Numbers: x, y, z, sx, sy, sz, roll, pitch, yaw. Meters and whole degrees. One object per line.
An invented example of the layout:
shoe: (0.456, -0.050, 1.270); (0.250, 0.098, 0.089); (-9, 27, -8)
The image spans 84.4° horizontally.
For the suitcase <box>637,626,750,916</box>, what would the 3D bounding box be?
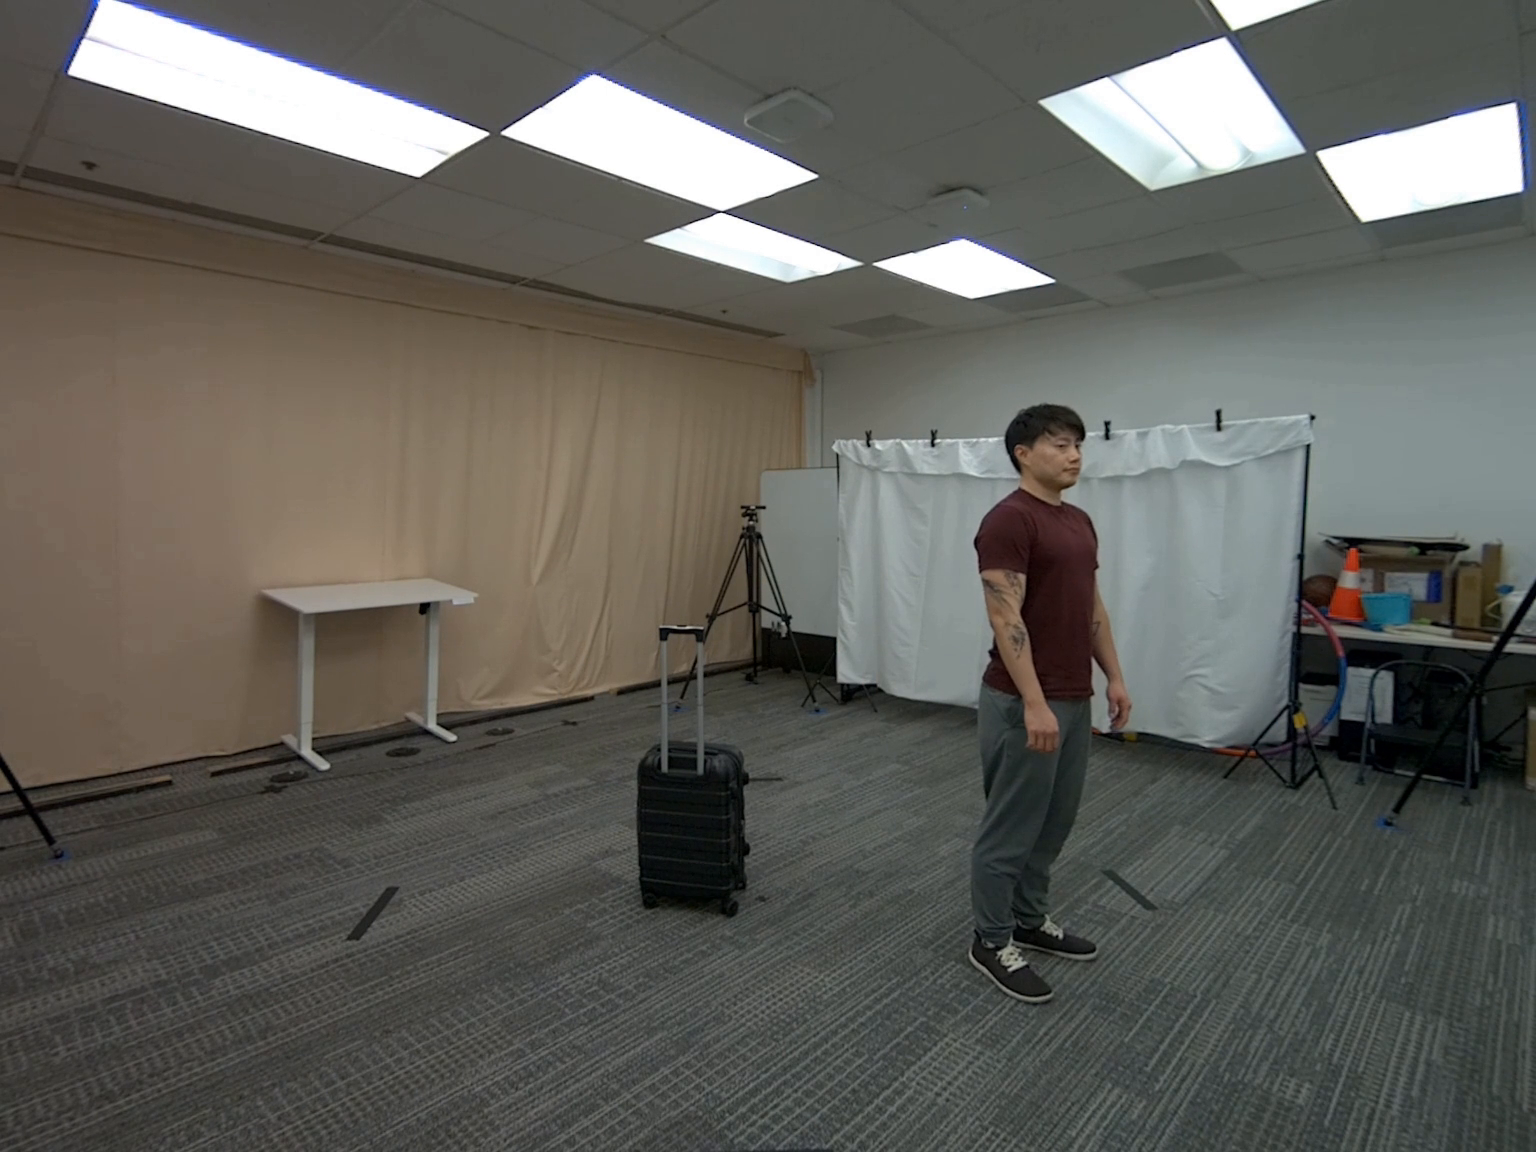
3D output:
suitcase: (-0.272, 0.666, 2.979); (0.390, 0.978, 0.253); (0, 1, 14)
